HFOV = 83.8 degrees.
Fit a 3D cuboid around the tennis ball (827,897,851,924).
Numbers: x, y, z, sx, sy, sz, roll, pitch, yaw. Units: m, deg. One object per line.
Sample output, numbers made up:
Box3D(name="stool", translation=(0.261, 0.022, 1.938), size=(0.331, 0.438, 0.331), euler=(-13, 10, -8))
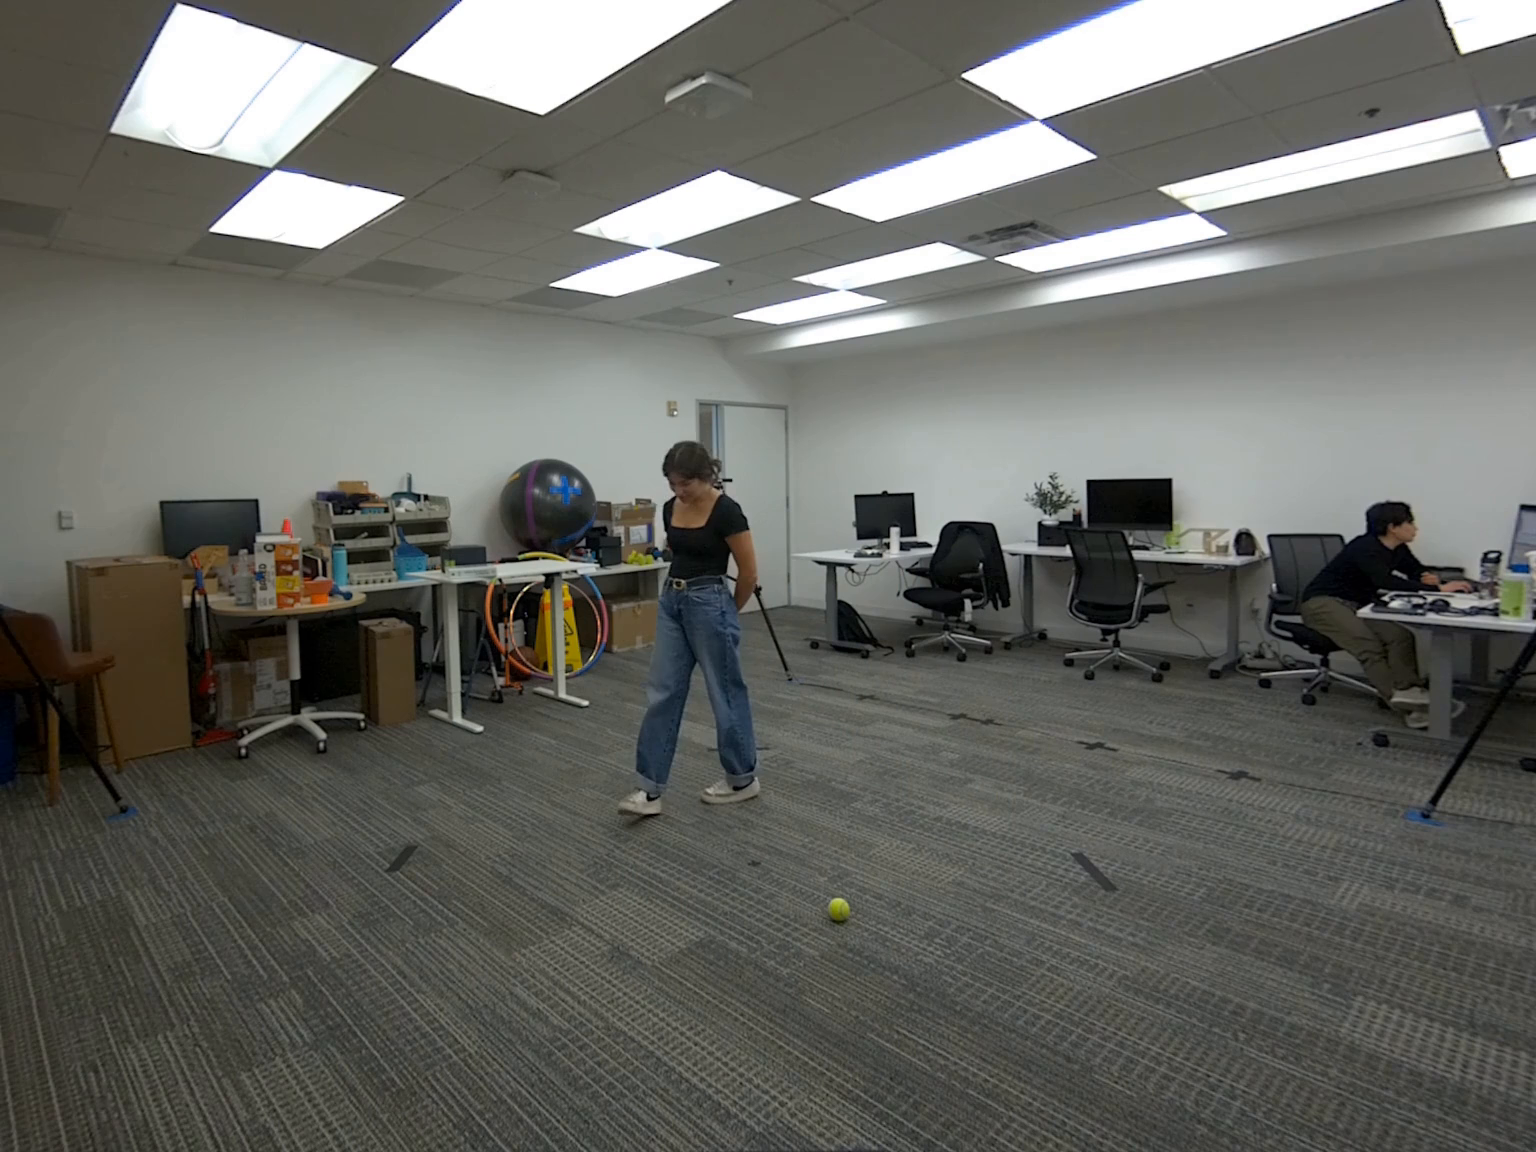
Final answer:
Box3D(name="tennis ball", translation=(0.236, 1.039, 2.693), size=(0.066, 0.066, 0.067), euler=(-1, 5, -2))
